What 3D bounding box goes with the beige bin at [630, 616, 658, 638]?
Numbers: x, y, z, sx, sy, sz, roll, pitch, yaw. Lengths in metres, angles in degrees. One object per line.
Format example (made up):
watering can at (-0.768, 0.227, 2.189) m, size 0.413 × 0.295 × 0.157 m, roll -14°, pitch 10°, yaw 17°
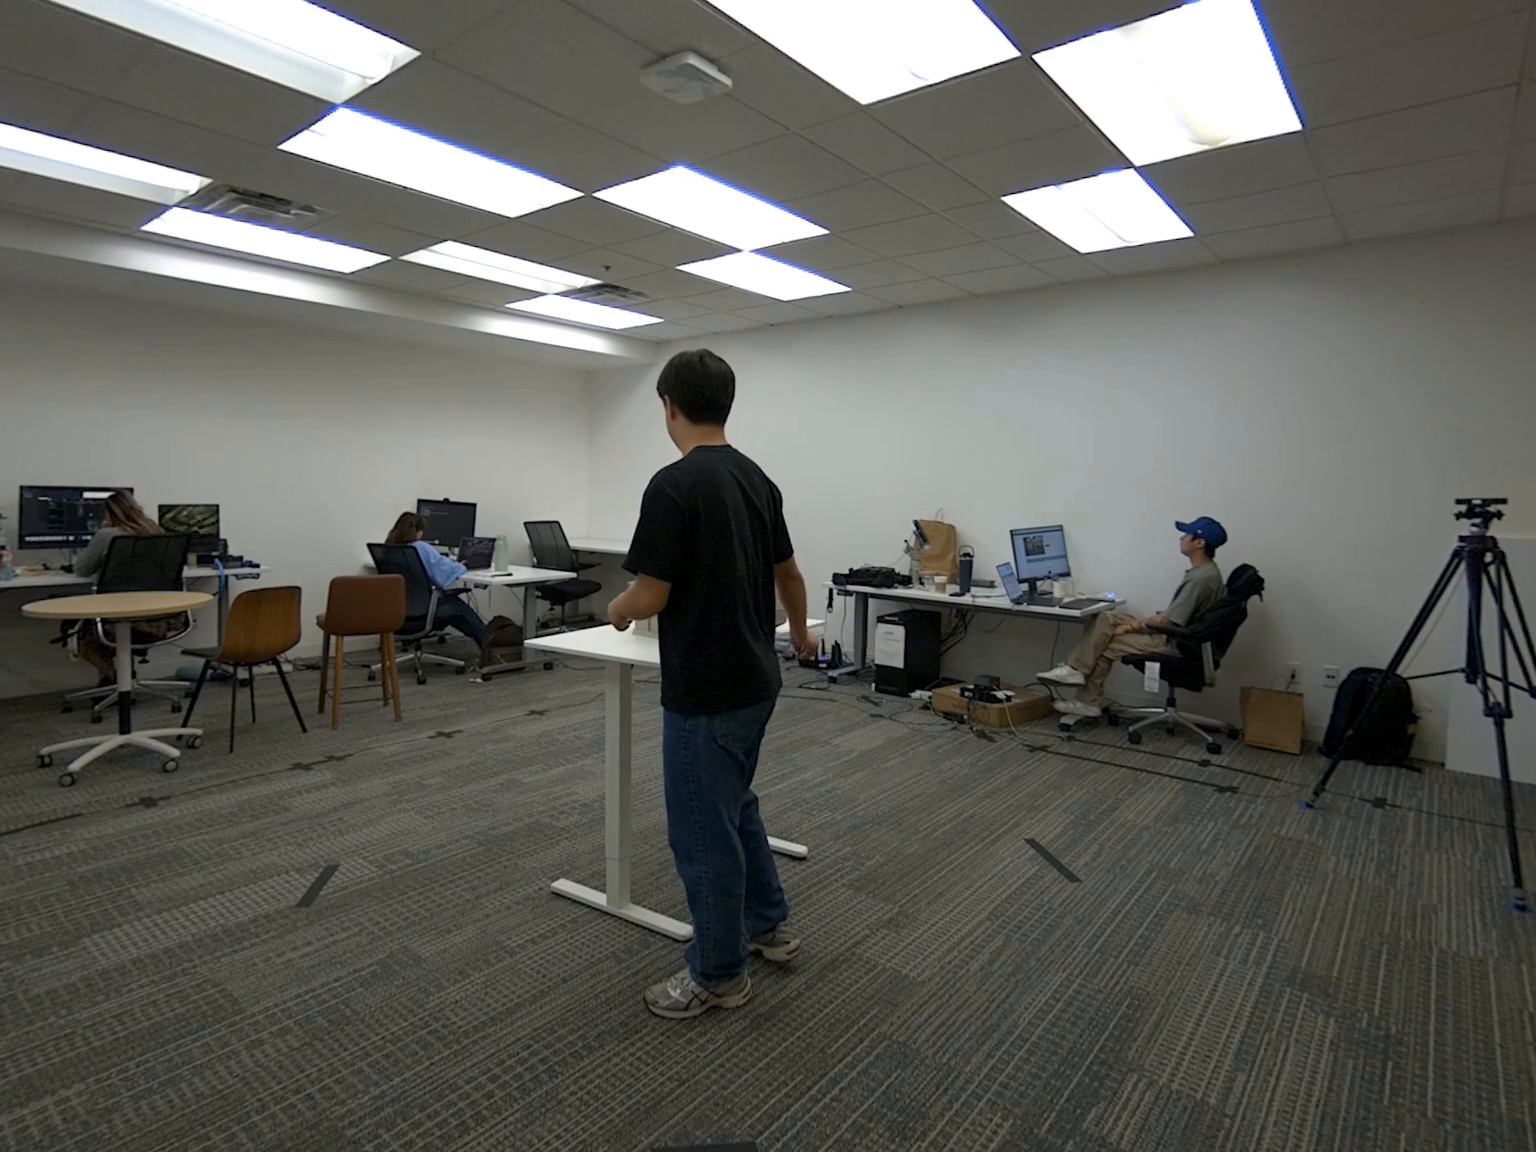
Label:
beige bin at (-0.211, 0.109, 2.978) m, size 0.390 × 0.188 × 0.410 m, roll 4°, pitch 6°, yaw 42°
